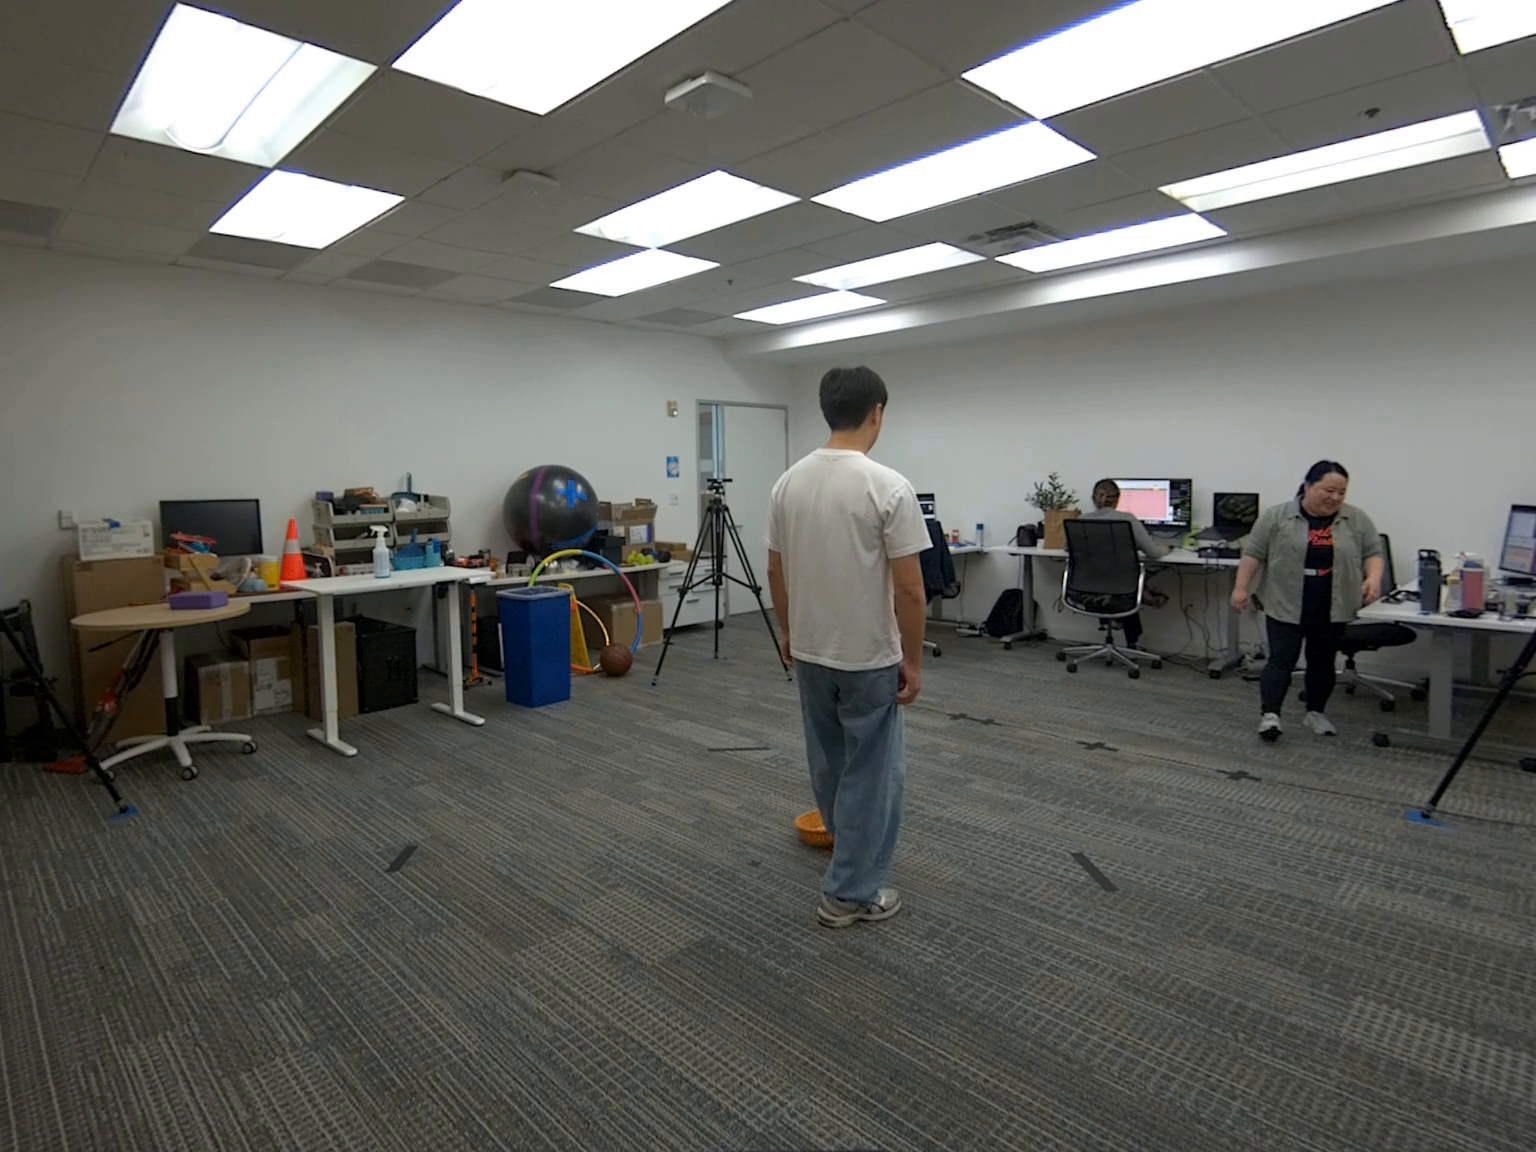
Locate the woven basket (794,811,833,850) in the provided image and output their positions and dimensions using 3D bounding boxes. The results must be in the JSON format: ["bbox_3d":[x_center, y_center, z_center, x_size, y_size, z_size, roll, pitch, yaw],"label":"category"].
[{"bbox_3d":[0.274,0.973,3.311,0.343,0.073,0.258,-5,2,-27],"label":"woven basket"}]
